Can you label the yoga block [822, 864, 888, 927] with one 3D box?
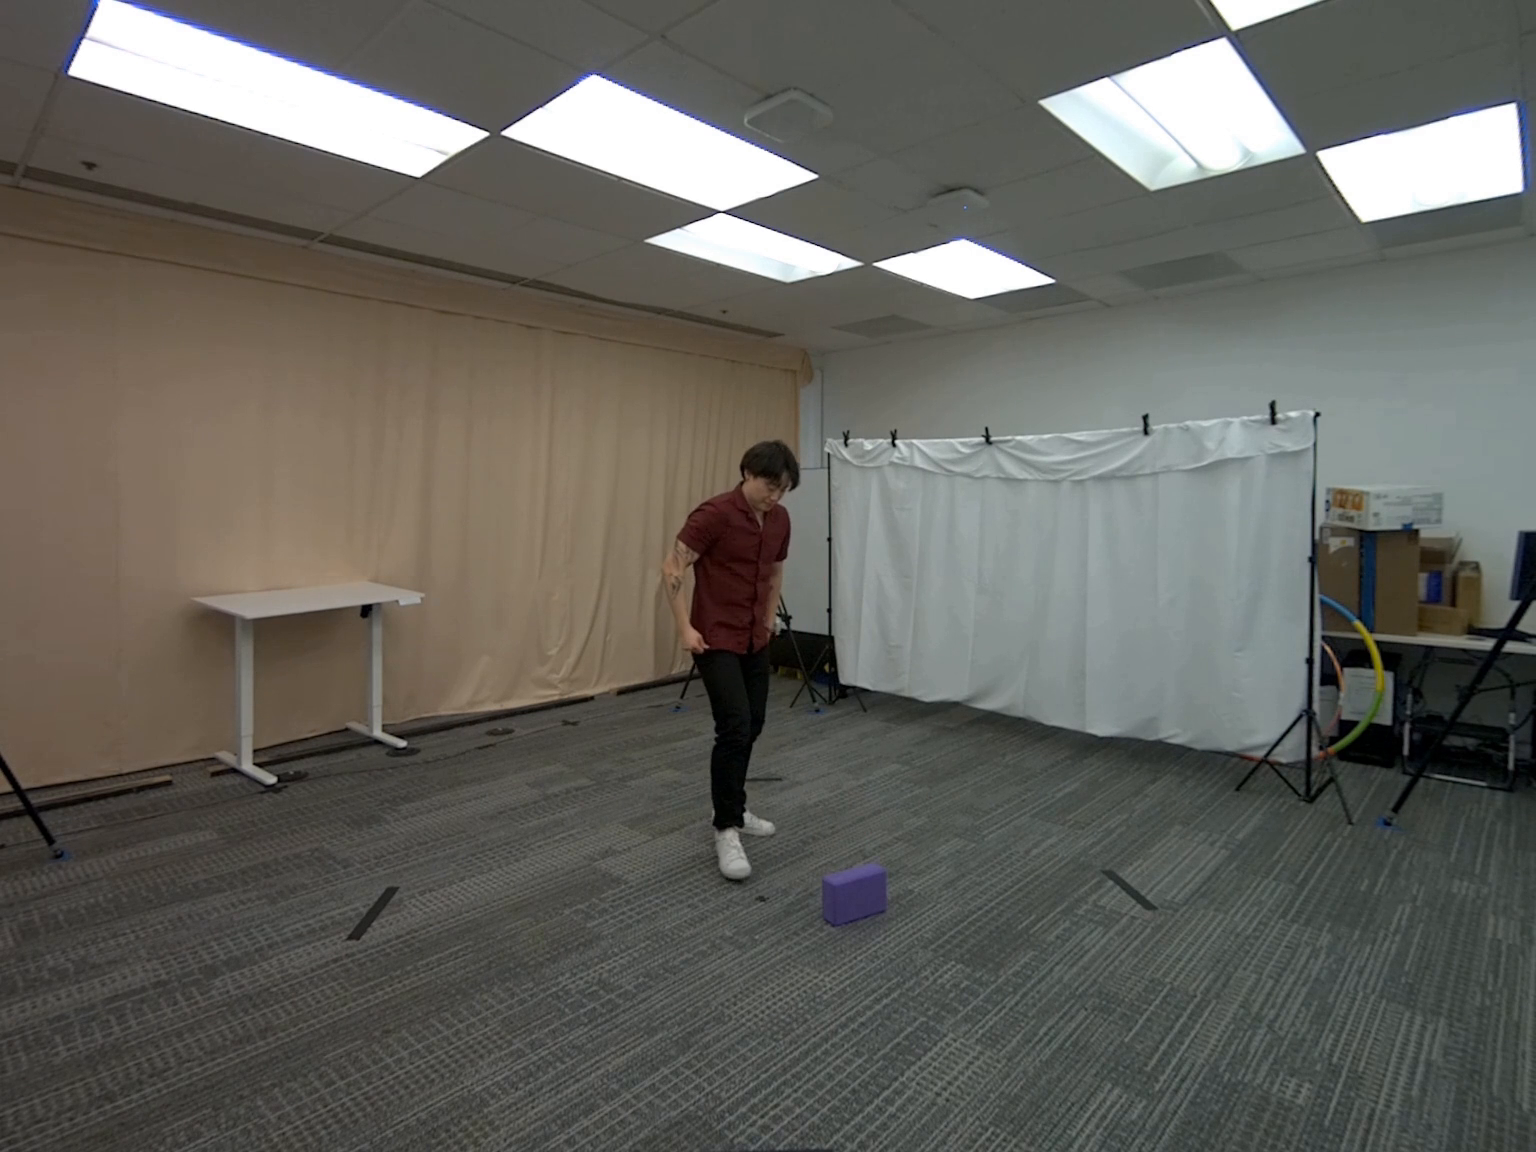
[{"bbox_3d":[0.298,1.076,2.857,0.223,0.148,0.078,-3,4,-30],"label":"yoga block"}]
